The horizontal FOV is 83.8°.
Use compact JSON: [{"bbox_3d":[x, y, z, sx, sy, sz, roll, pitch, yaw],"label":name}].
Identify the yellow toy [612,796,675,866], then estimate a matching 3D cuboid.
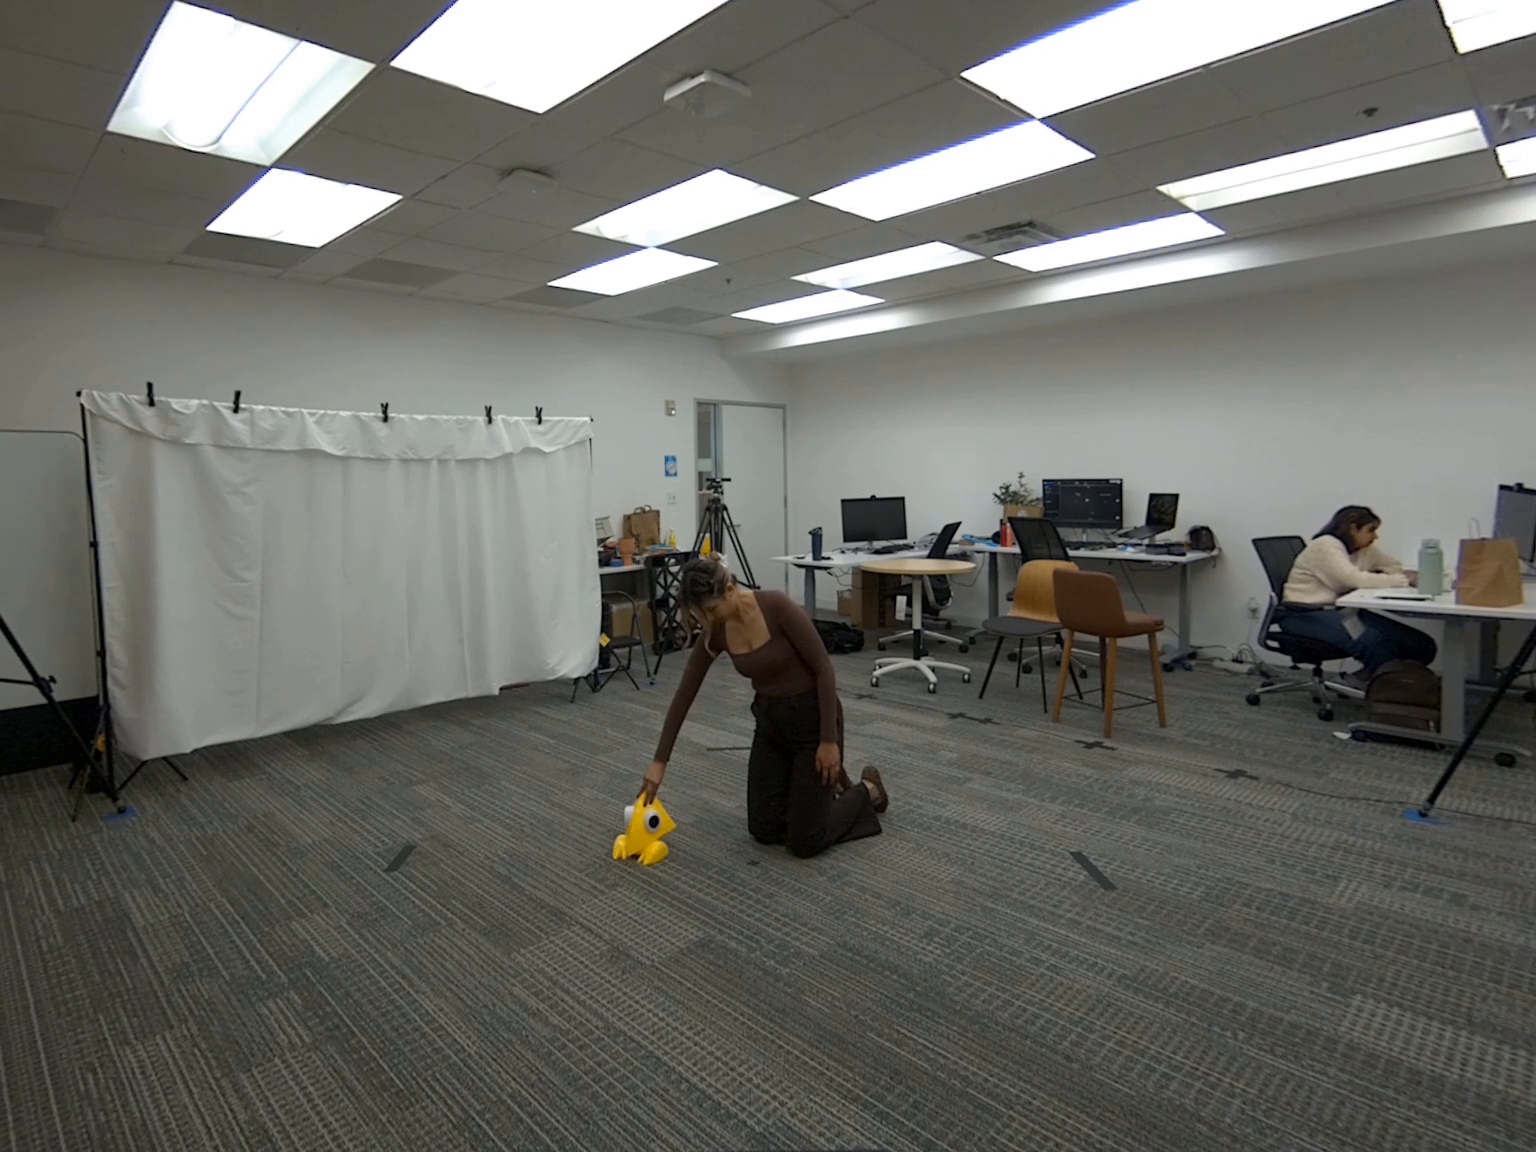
[{"bbox_3d":[-0.472,0.924,3.202,0.209,0.230,0.189,1,5,23],"label":"yellow toy"}]
